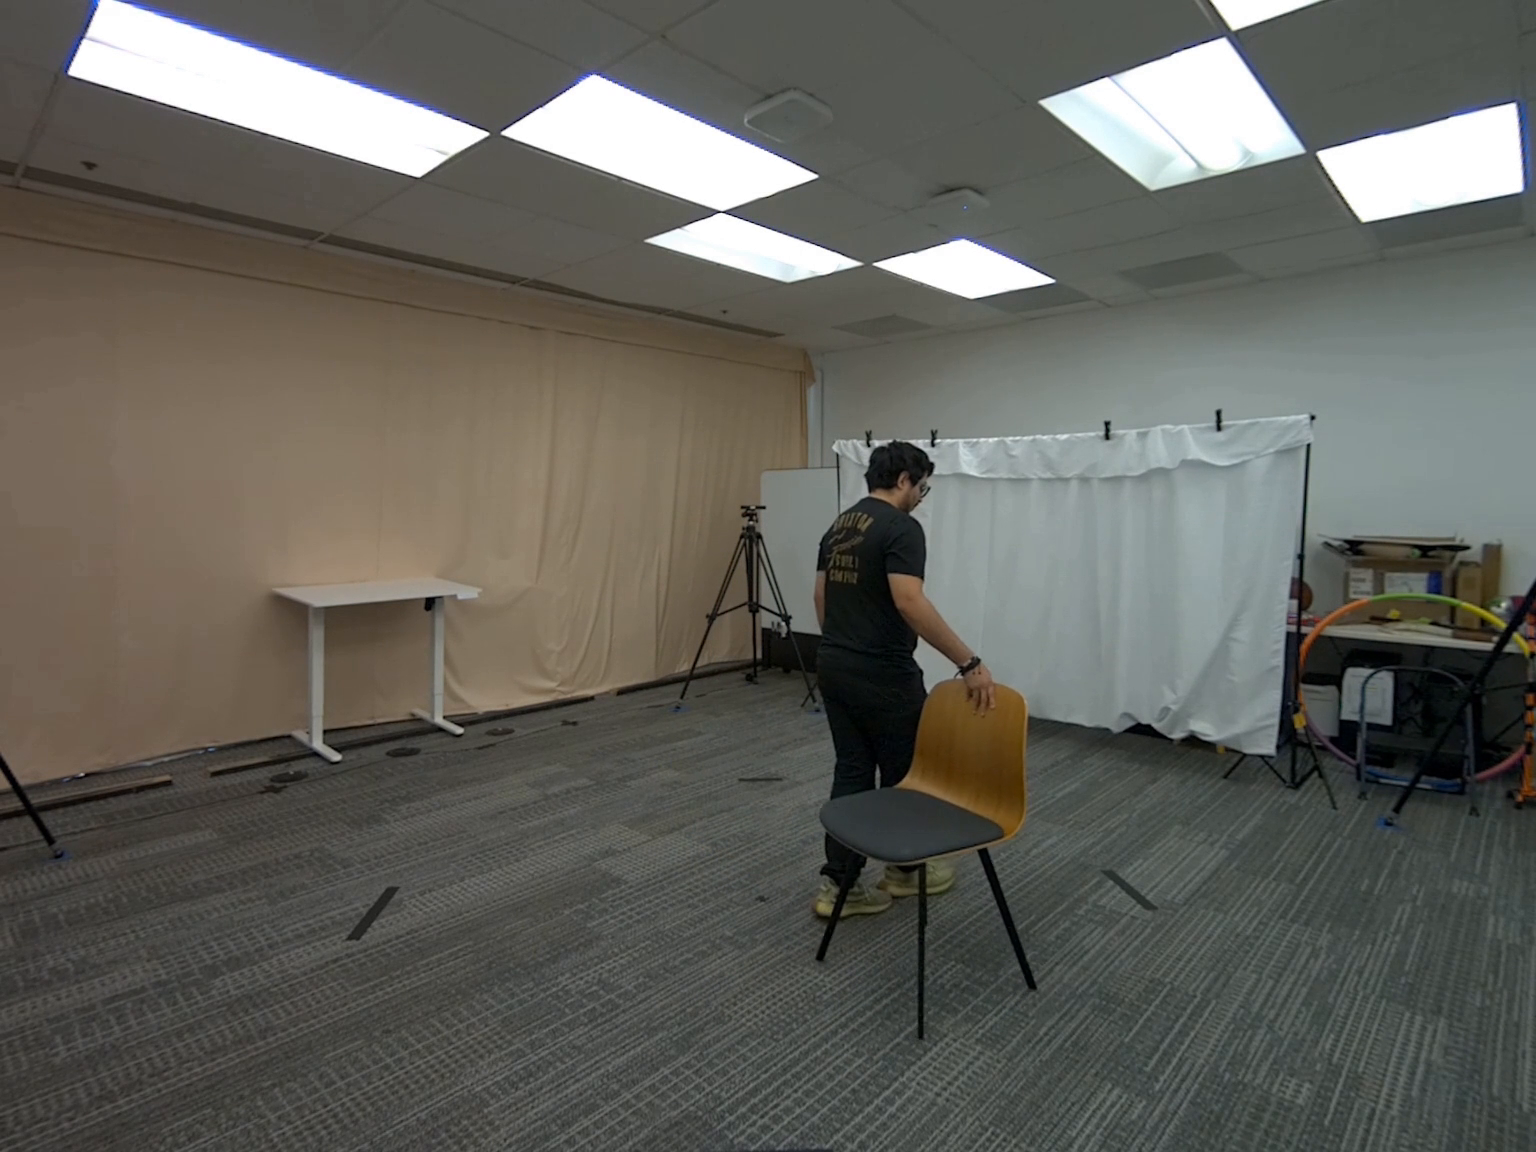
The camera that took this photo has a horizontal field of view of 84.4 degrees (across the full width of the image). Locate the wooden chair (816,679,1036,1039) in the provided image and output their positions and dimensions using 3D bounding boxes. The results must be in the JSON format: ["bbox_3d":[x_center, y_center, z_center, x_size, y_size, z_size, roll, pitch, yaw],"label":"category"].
[{"bbox_3d":[0.458,0.759,2.467,0.508,0.877,0.493,3,2,-33],"label":"wooden chair"}]
